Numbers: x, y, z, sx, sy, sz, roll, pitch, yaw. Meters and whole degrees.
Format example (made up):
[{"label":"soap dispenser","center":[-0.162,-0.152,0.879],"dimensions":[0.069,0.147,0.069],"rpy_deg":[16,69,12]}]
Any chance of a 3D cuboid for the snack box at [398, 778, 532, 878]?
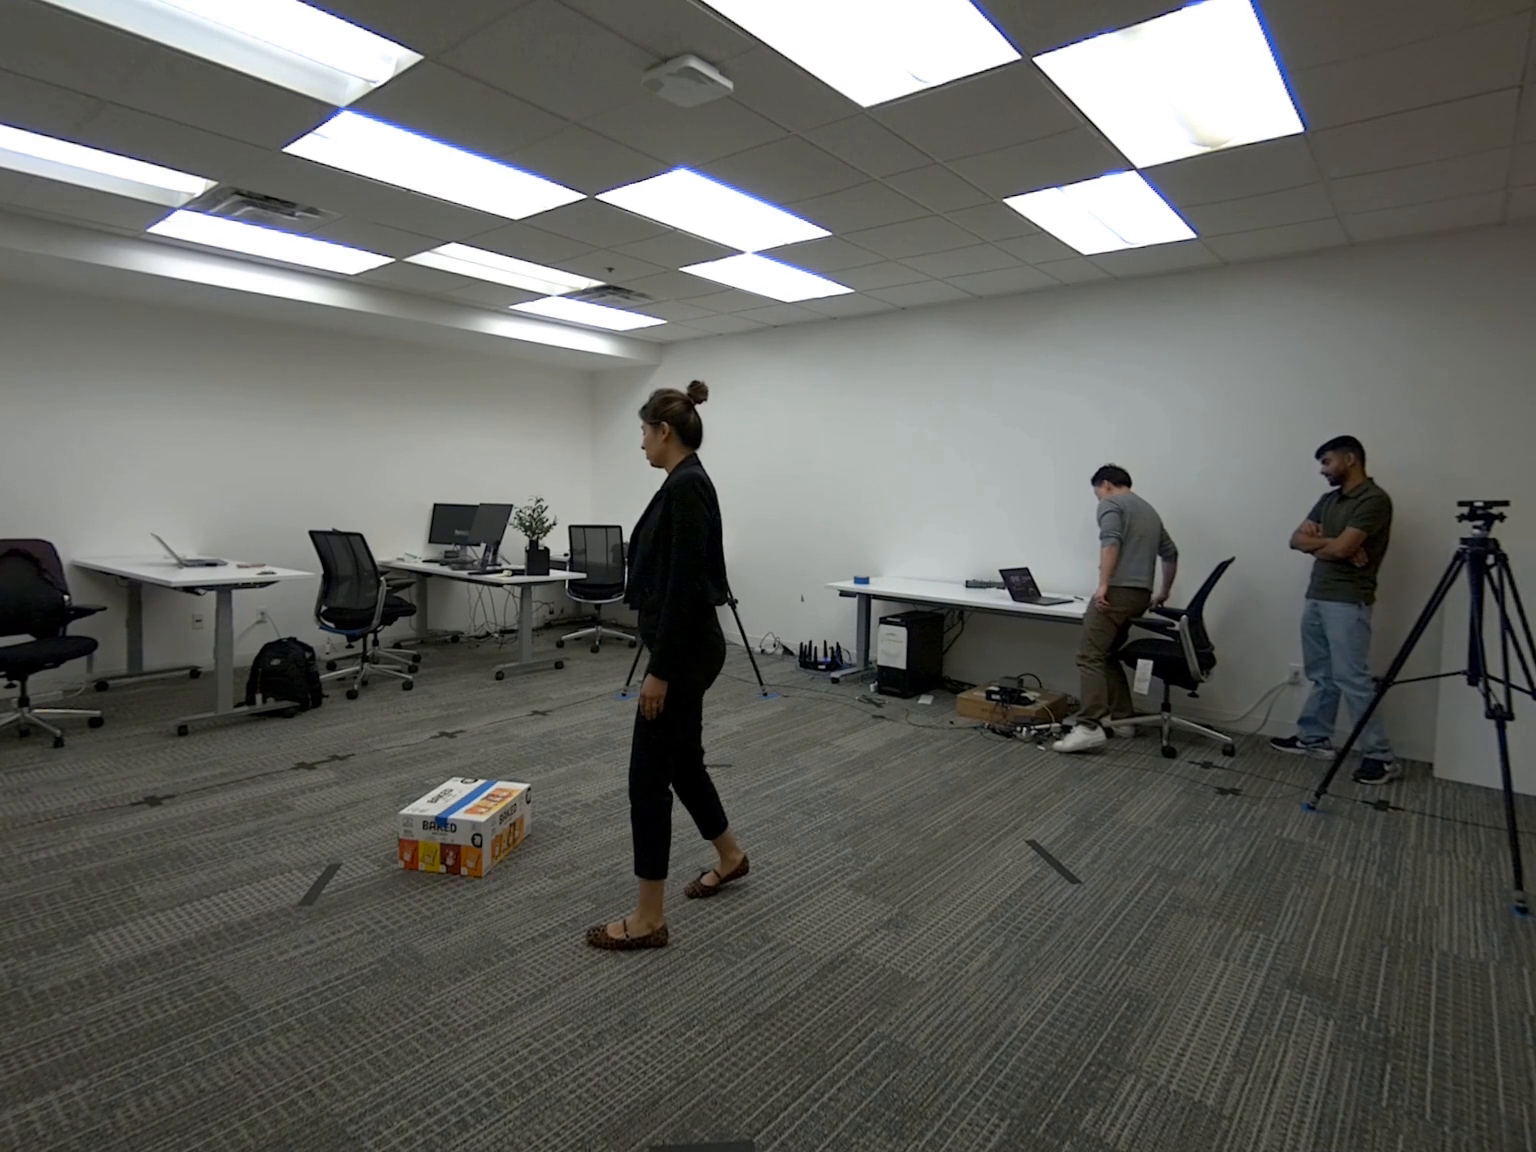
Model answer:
[{"label":"snack box","center":[-1.160,0.945,3.239],"dimensions":[0.344,0.205,0.402],"rpy_deg":[2,5,10]}]
